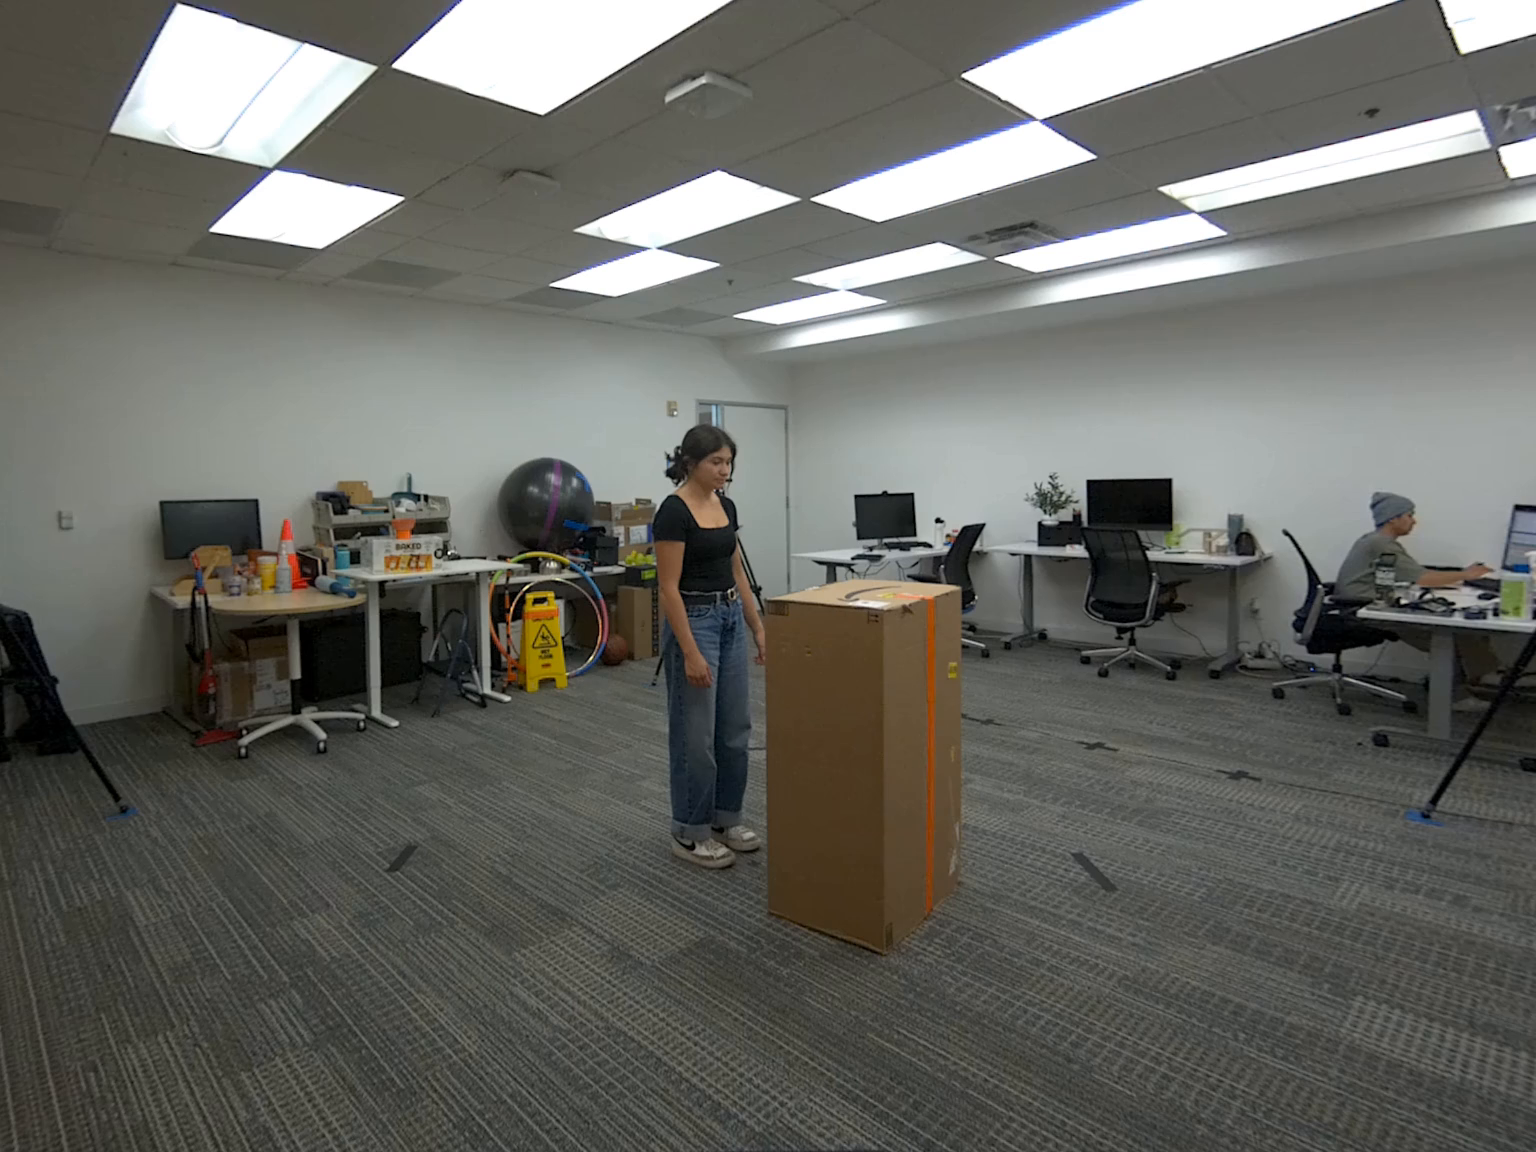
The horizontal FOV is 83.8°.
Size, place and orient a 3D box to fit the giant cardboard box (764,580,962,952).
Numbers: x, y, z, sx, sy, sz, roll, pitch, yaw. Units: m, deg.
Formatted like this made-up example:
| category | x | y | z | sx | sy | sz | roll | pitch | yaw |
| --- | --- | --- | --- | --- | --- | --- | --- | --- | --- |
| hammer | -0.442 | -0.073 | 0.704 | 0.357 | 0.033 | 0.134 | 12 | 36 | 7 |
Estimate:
| category | x | y | z | sx | sy | sz | roll | pitch | yaw |
| --- | --- | --- | --- | --- | --- | --- | --- | --- | --- |
| giant cardboard box | 0.330 | 0.564 | 2.805 | 0.438 | 1.022 | 0.563 | 2 | 5 | 36 |
